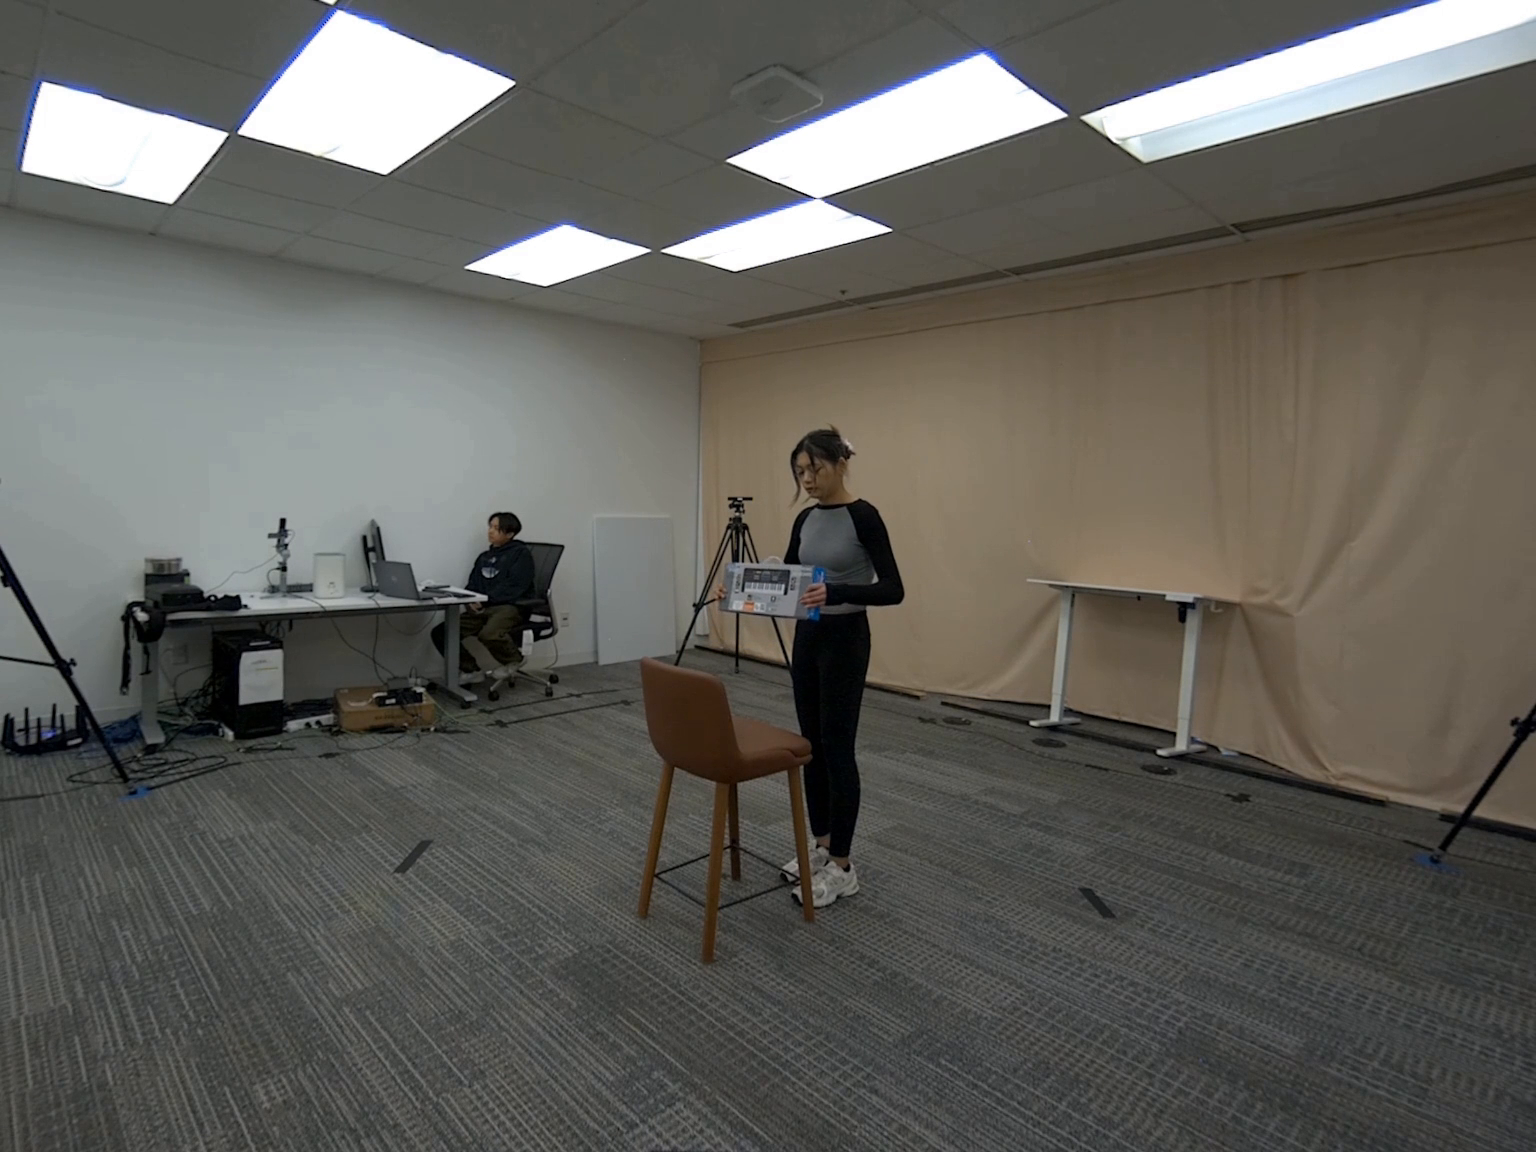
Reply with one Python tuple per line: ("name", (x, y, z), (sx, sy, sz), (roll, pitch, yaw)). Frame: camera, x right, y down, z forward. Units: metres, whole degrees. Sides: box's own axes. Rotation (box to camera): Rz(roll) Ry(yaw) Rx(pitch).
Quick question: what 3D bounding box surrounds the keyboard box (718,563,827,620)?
("keyboard box", (0.004, 0.051, 2.871), (0.057, 0.177, 0.447), (16, -9, -42))
